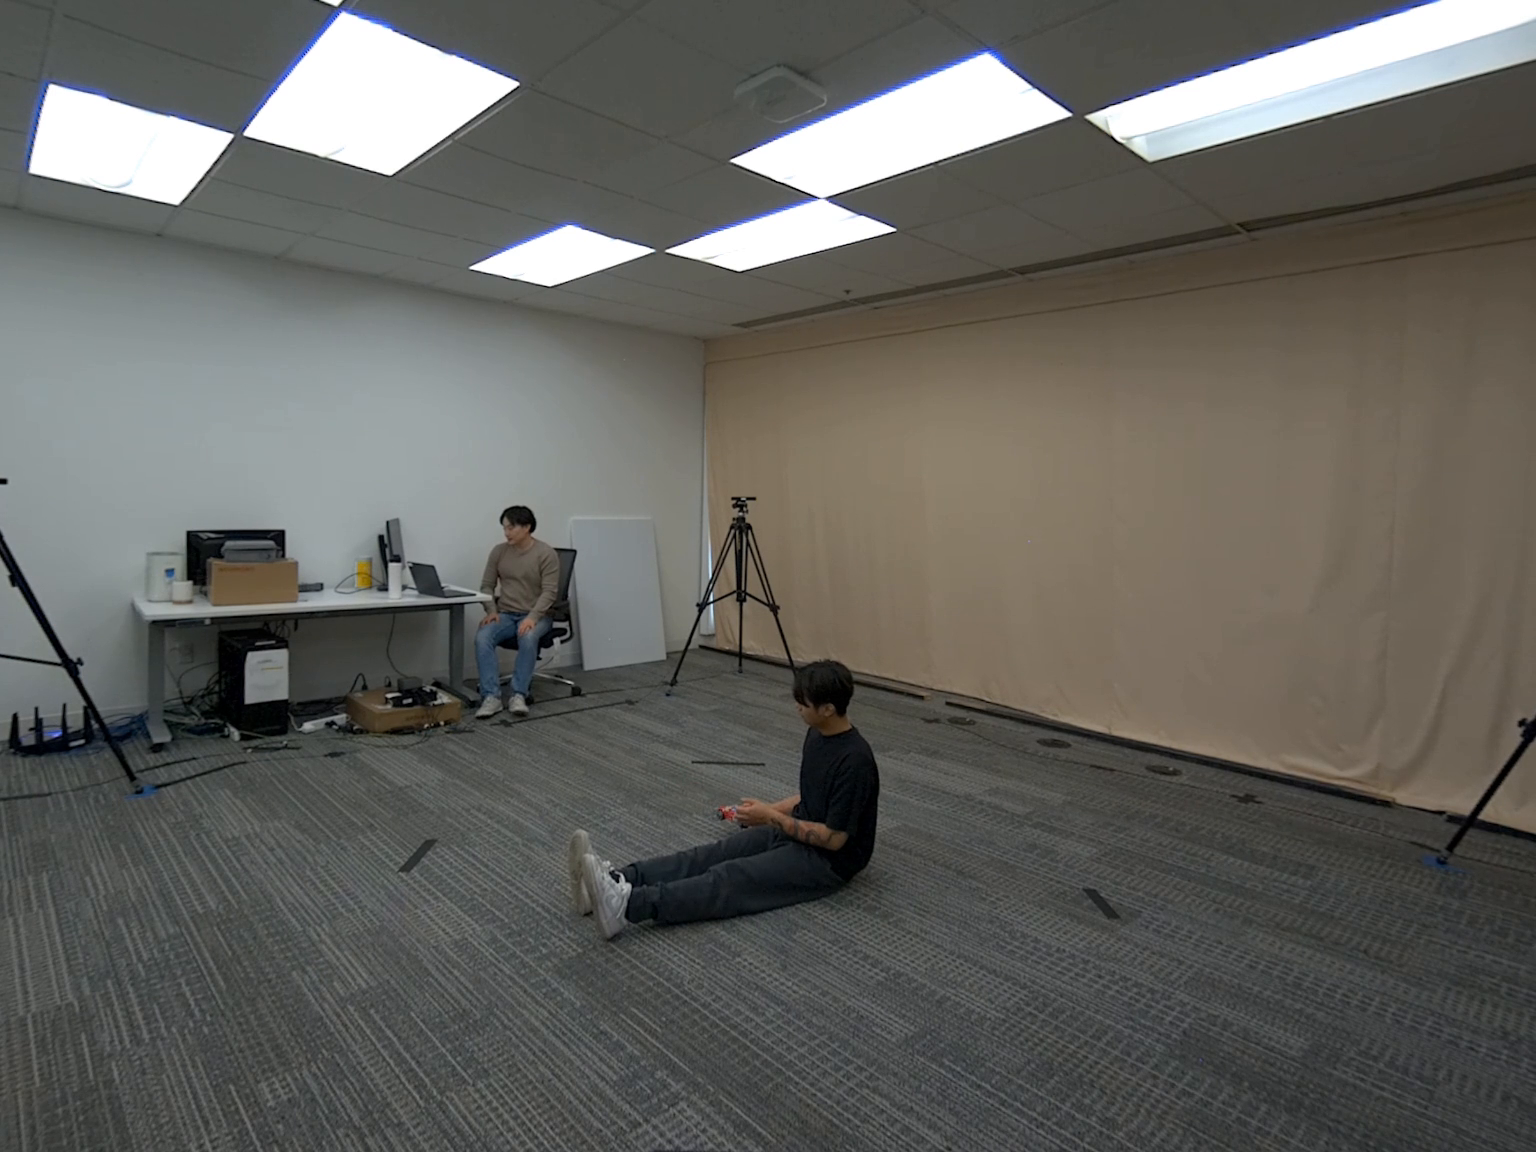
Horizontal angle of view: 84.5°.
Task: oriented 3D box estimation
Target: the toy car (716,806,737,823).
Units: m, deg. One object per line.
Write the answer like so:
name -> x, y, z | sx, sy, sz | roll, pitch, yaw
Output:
toy car -> -0.103, 0.976, 3.422 | 0.127, 0.084, 0.258 | 10, -18, -37
